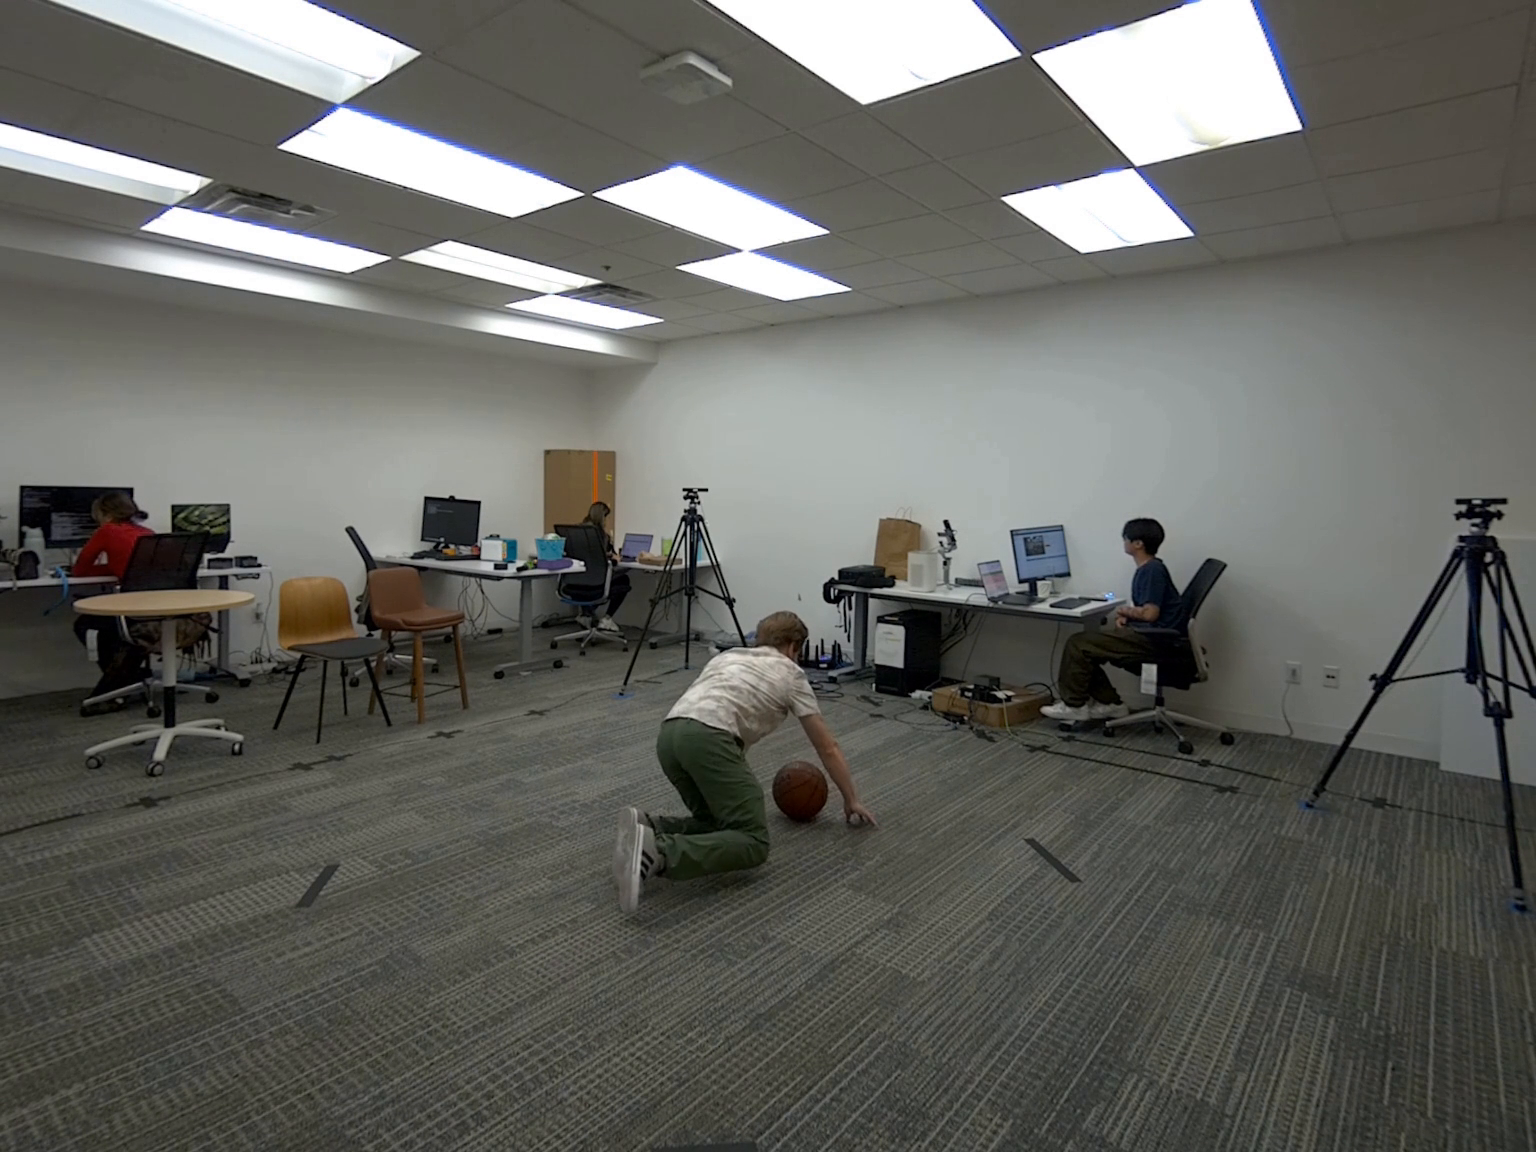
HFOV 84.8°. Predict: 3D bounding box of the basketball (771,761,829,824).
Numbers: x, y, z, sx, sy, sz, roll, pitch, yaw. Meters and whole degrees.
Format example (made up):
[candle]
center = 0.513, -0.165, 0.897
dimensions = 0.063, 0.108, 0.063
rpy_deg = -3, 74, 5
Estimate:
[basketball]
center = 0.125, 0.906, 3.625
dimensions = 0.235, 0.235, 0.237
rpy_deg = 1, 4, -2
